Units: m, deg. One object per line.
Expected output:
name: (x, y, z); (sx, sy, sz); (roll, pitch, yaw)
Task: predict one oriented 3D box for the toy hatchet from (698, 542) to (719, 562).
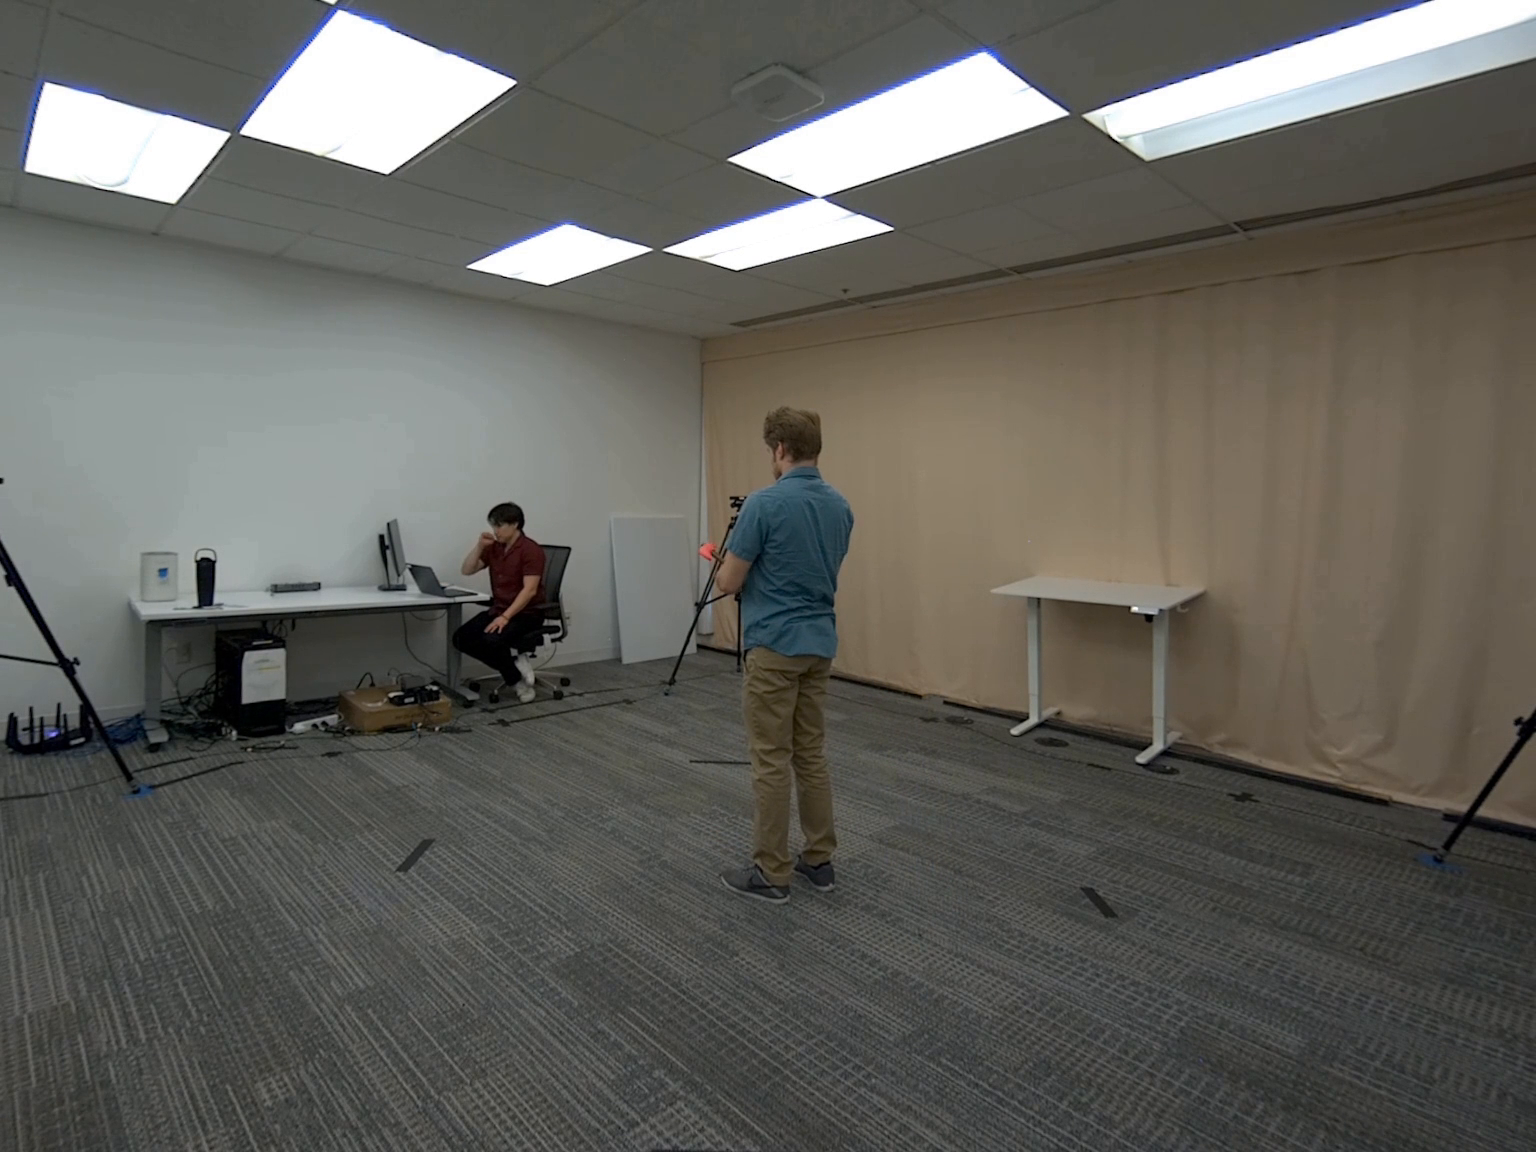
toy hatchet: (-0.177, -0.038, 3.294); (0.128, 0.029, 0.278); (0, 40, -50)
